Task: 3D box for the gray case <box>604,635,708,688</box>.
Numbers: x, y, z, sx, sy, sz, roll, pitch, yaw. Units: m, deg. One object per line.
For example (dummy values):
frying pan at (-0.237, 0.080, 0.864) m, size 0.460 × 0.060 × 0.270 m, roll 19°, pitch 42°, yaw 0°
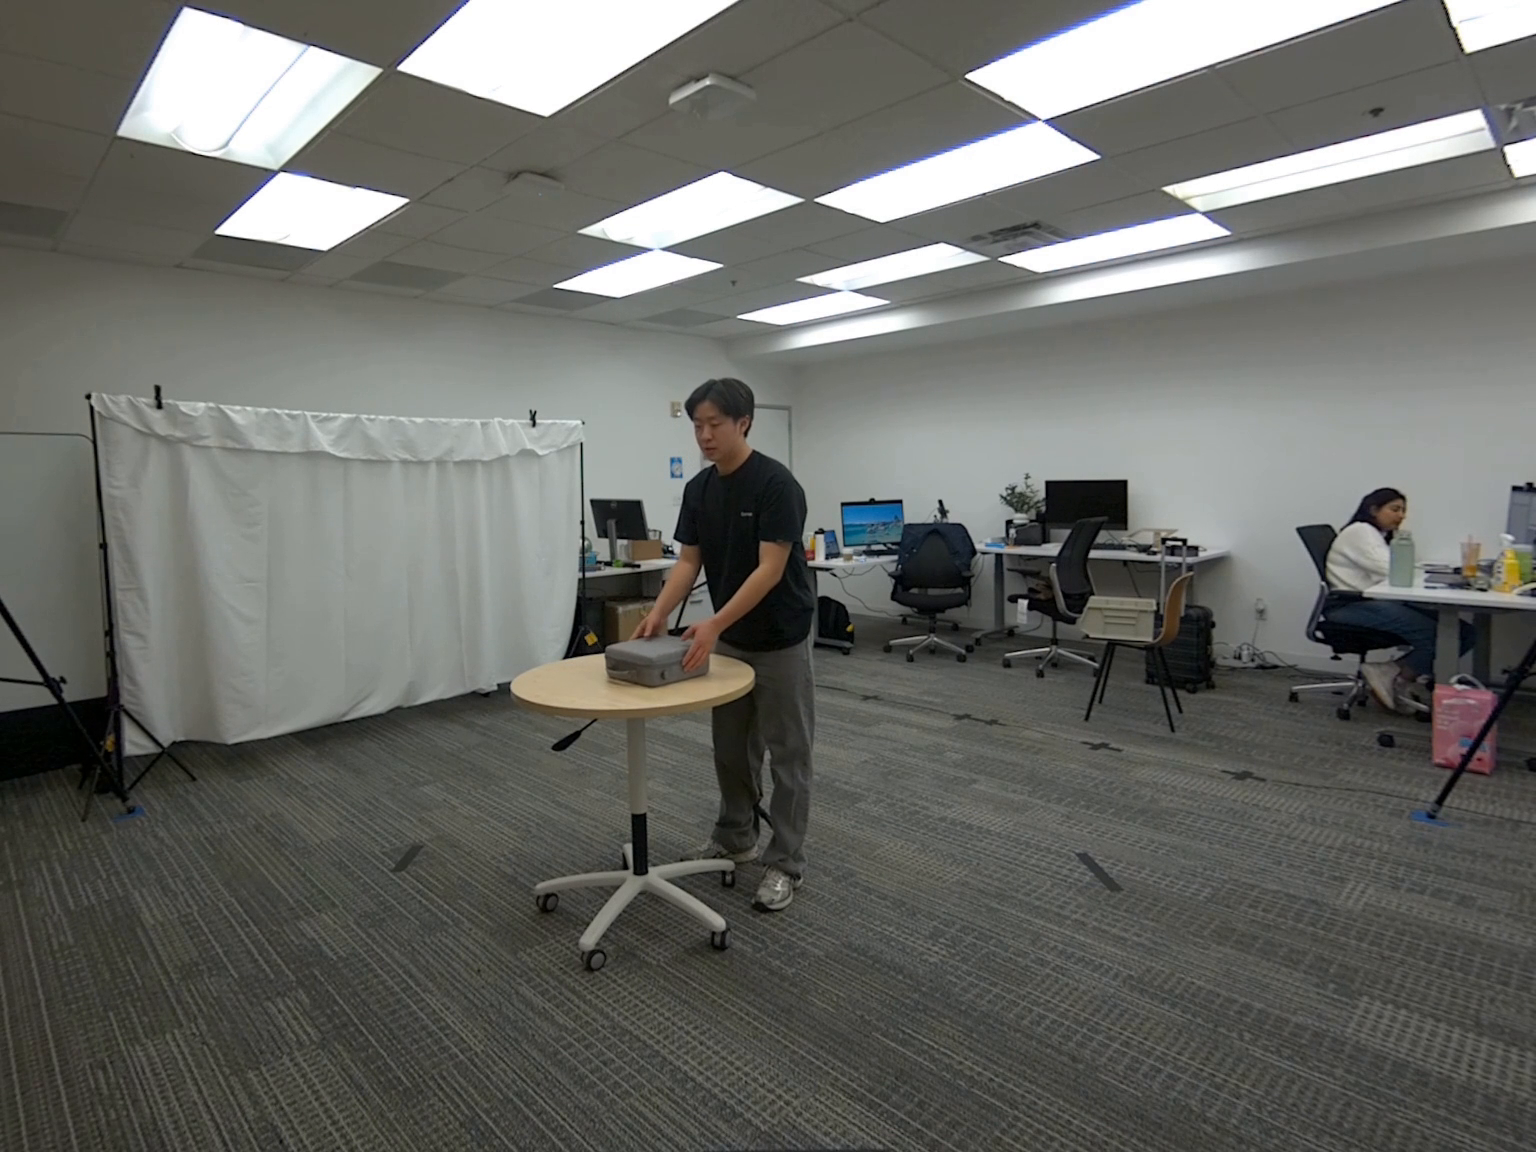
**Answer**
gray case at (-0.358, 0.268, 2.689) m, size 0.271 × 0.102 × 0.280 m, roll 5°, pitch 9°, yaw 43°
